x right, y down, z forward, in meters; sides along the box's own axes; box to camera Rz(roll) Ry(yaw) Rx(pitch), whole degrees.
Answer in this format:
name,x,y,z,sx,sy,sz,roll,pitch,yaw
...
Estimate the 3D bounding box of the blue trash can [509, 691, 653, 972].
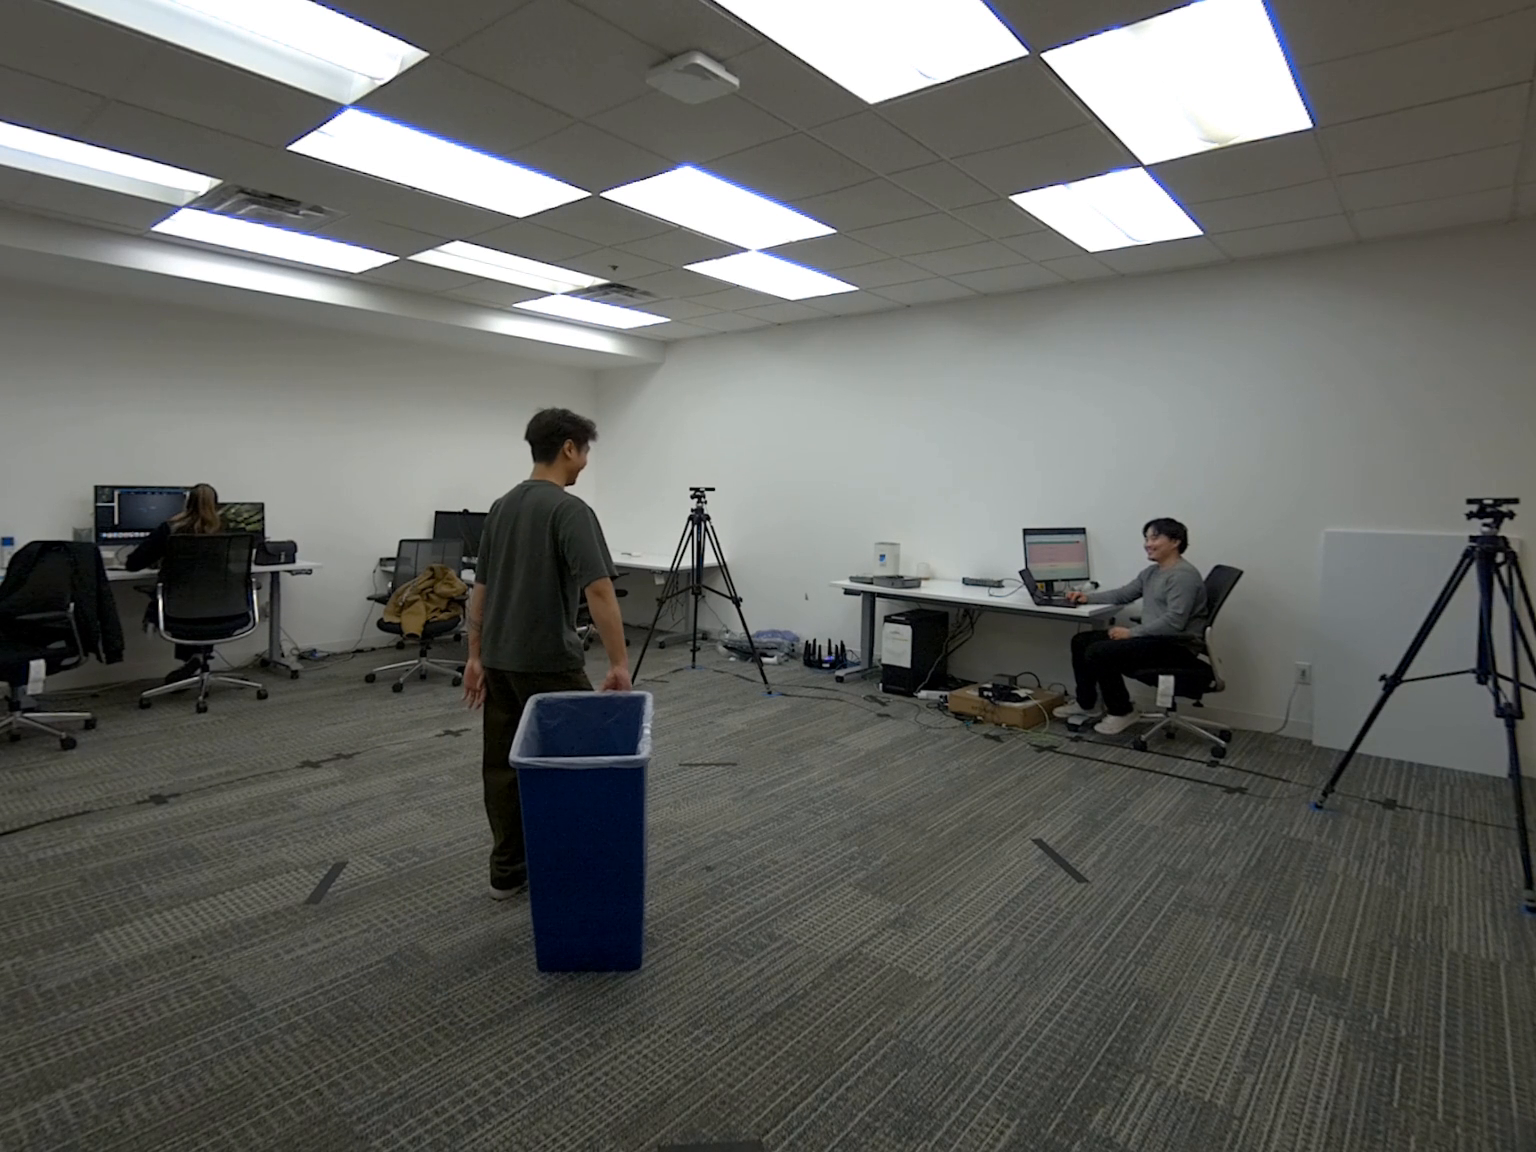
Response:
name,x,y,z,sx,sy,sz,roll,pitch,yaw
blue trash can,-0.536,0.742,2.462,0.373,0.703,0.384,1,16,-3
